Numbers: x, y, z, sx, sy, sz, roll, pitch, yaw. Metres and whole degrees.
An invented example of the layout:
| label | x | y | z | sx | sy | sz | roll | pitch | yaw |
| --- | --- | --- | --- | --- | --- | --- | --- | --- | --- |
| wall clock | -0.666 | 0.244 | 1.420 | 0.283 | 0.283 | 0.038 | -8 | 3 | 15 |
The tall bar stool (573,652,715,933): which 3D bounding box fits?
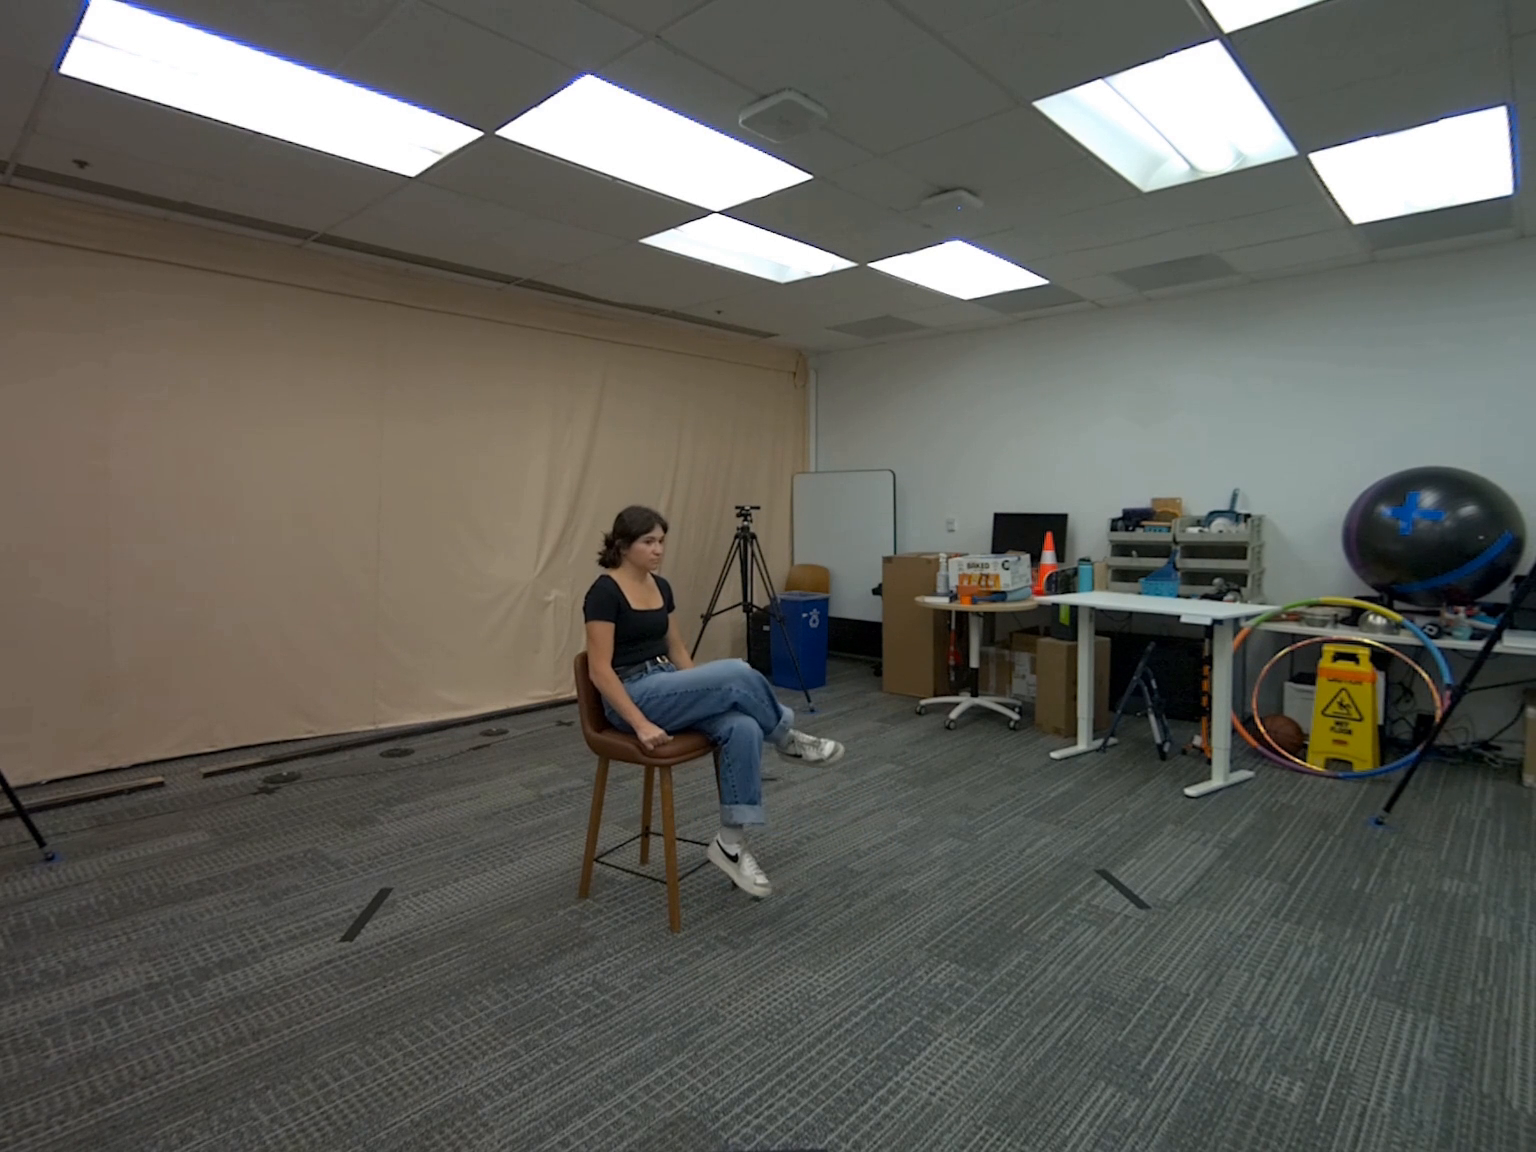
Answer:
| label | x | y | z | sx | sy | sz | roll | pitch | yaw |
| --- | --- | --- | --- | --- | --- | --- | --- | --- | --- |
| tall bar stool | -0.403 | 0.712 | 3.023 | 0.481 | 0.889 | 0.444 | -1 | 2 | 32 |
